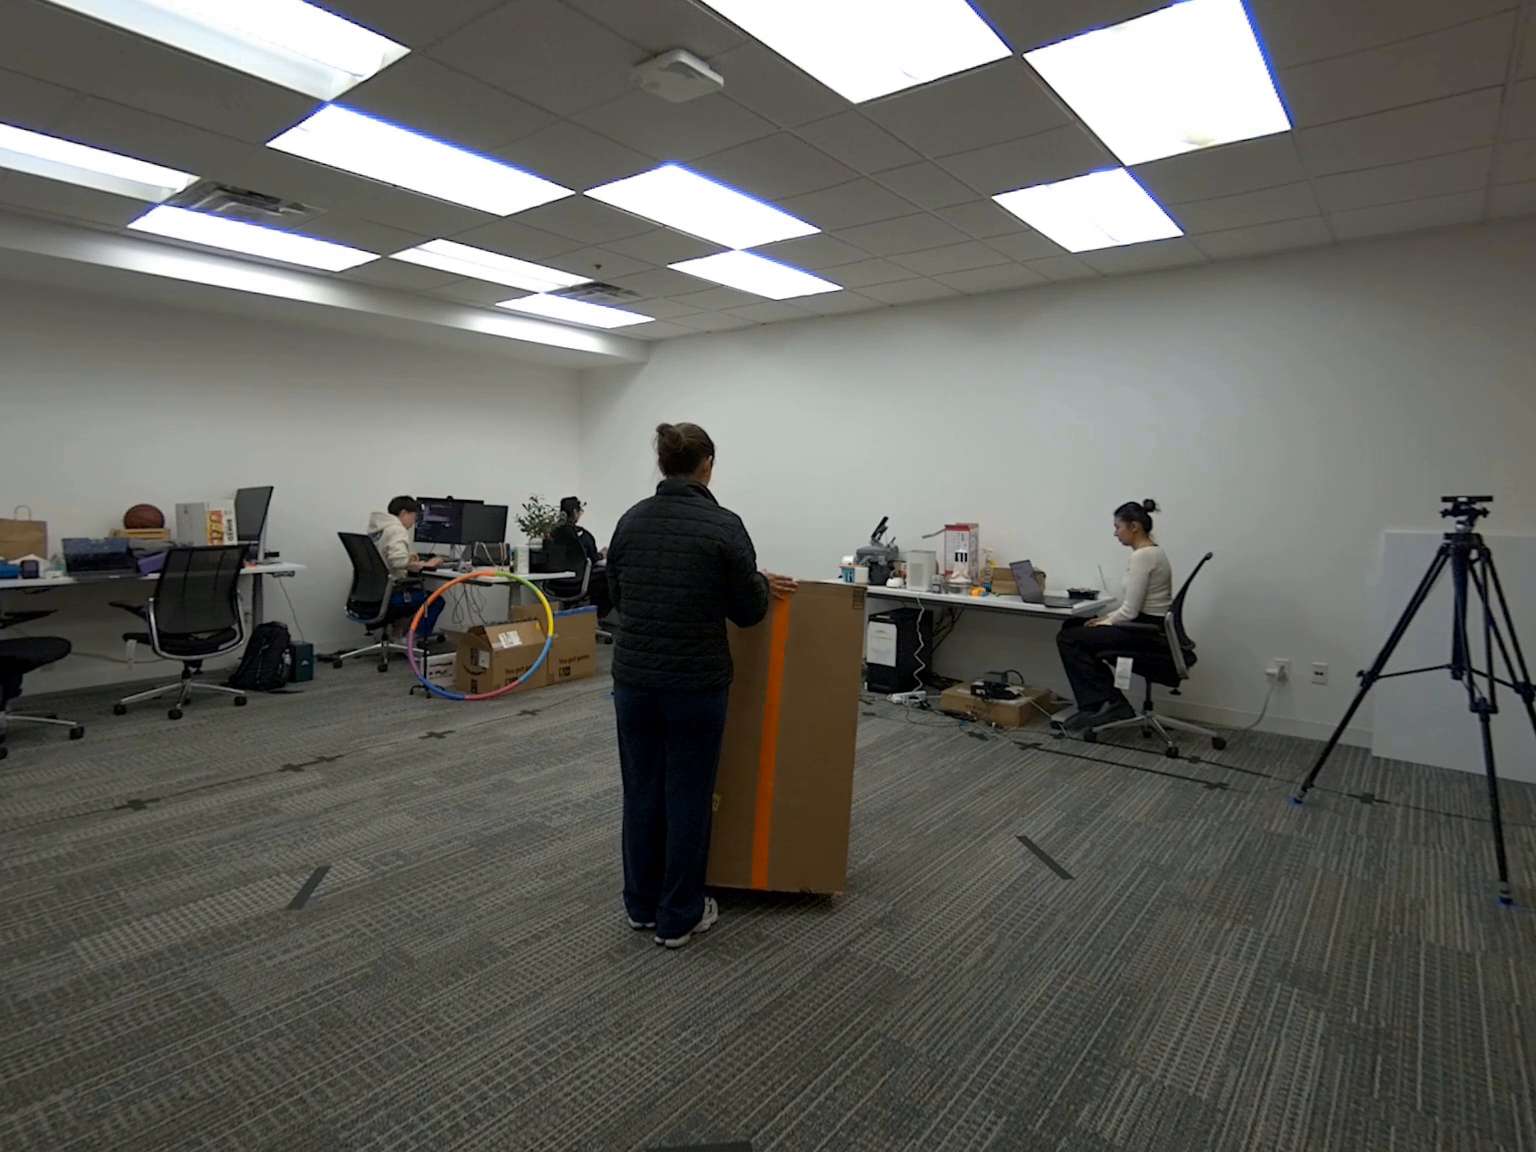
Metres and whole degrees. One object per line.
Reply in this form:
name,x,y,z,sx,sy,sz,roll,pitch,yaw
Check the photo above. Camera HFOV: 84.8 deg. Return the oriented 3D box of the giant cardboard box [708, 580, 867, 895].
giant cardboard box,0.007,0.530,3.058,0.576,1.032,0.425,5,-7,-3
